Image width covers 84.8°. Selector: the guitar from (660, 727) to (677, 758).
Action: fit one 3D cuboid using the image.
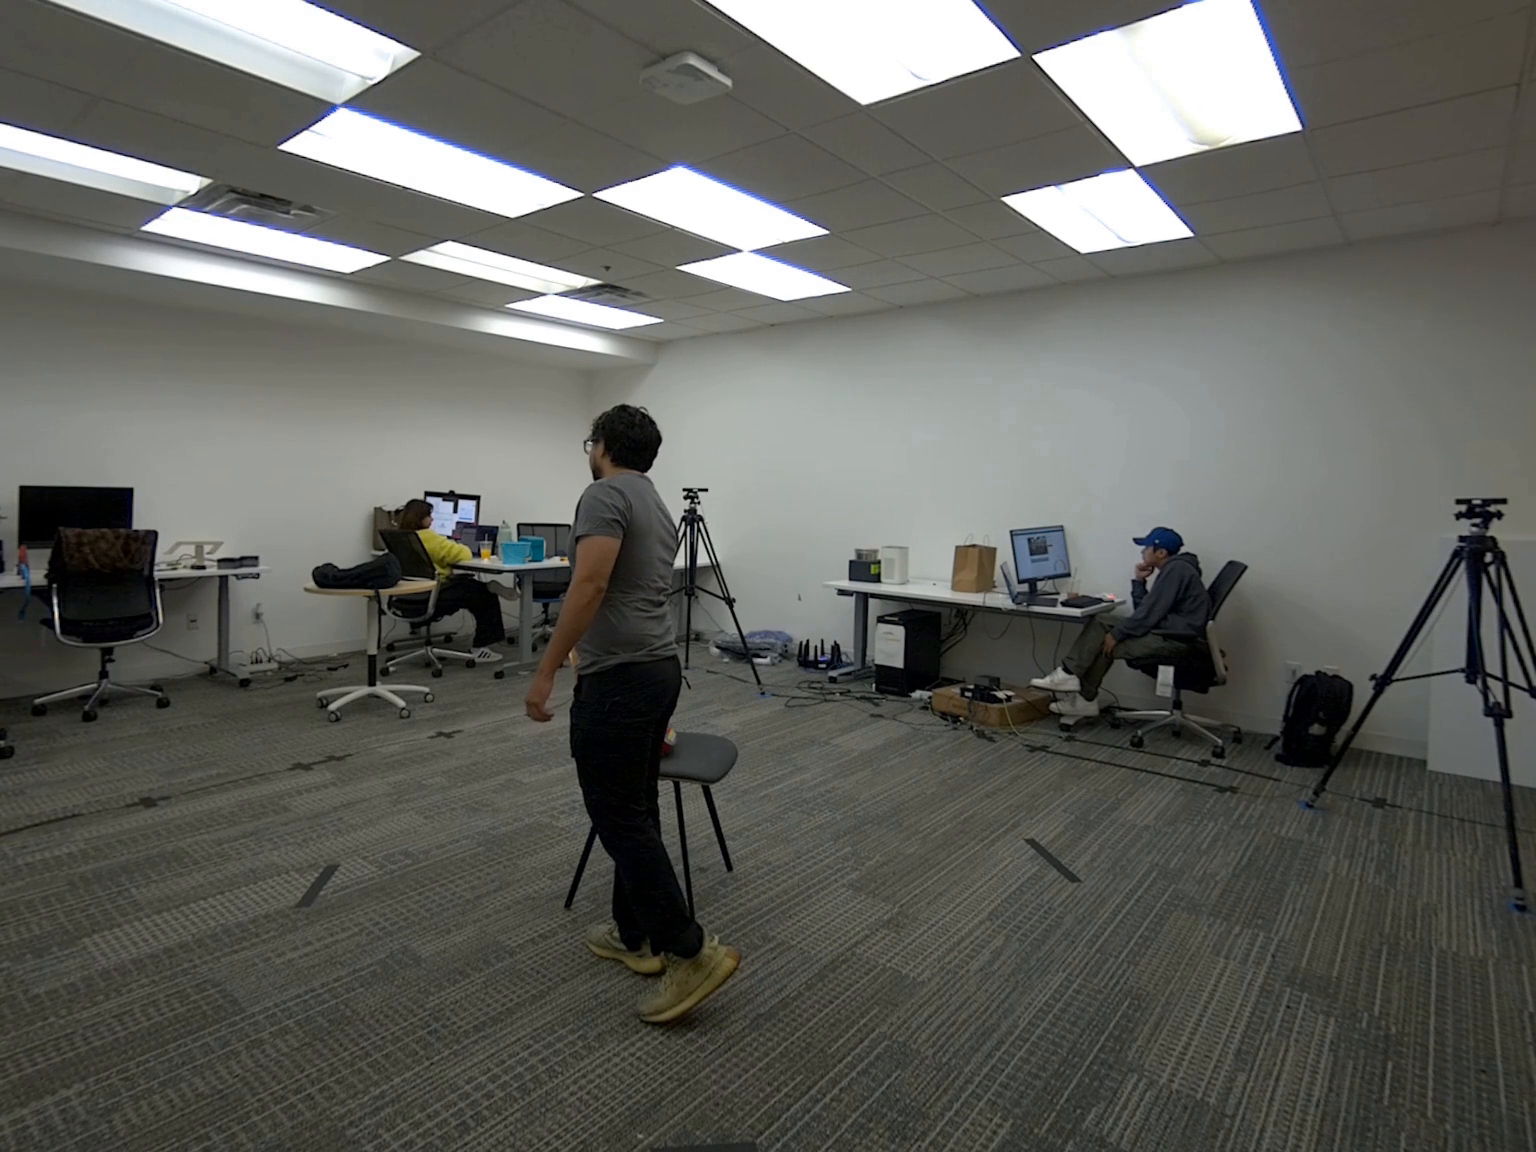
[{"bbox_3d":[-0.500,0.399,2.970,0.071,0.501,0.192,-42,-4,6],"label":"guitar"}]
